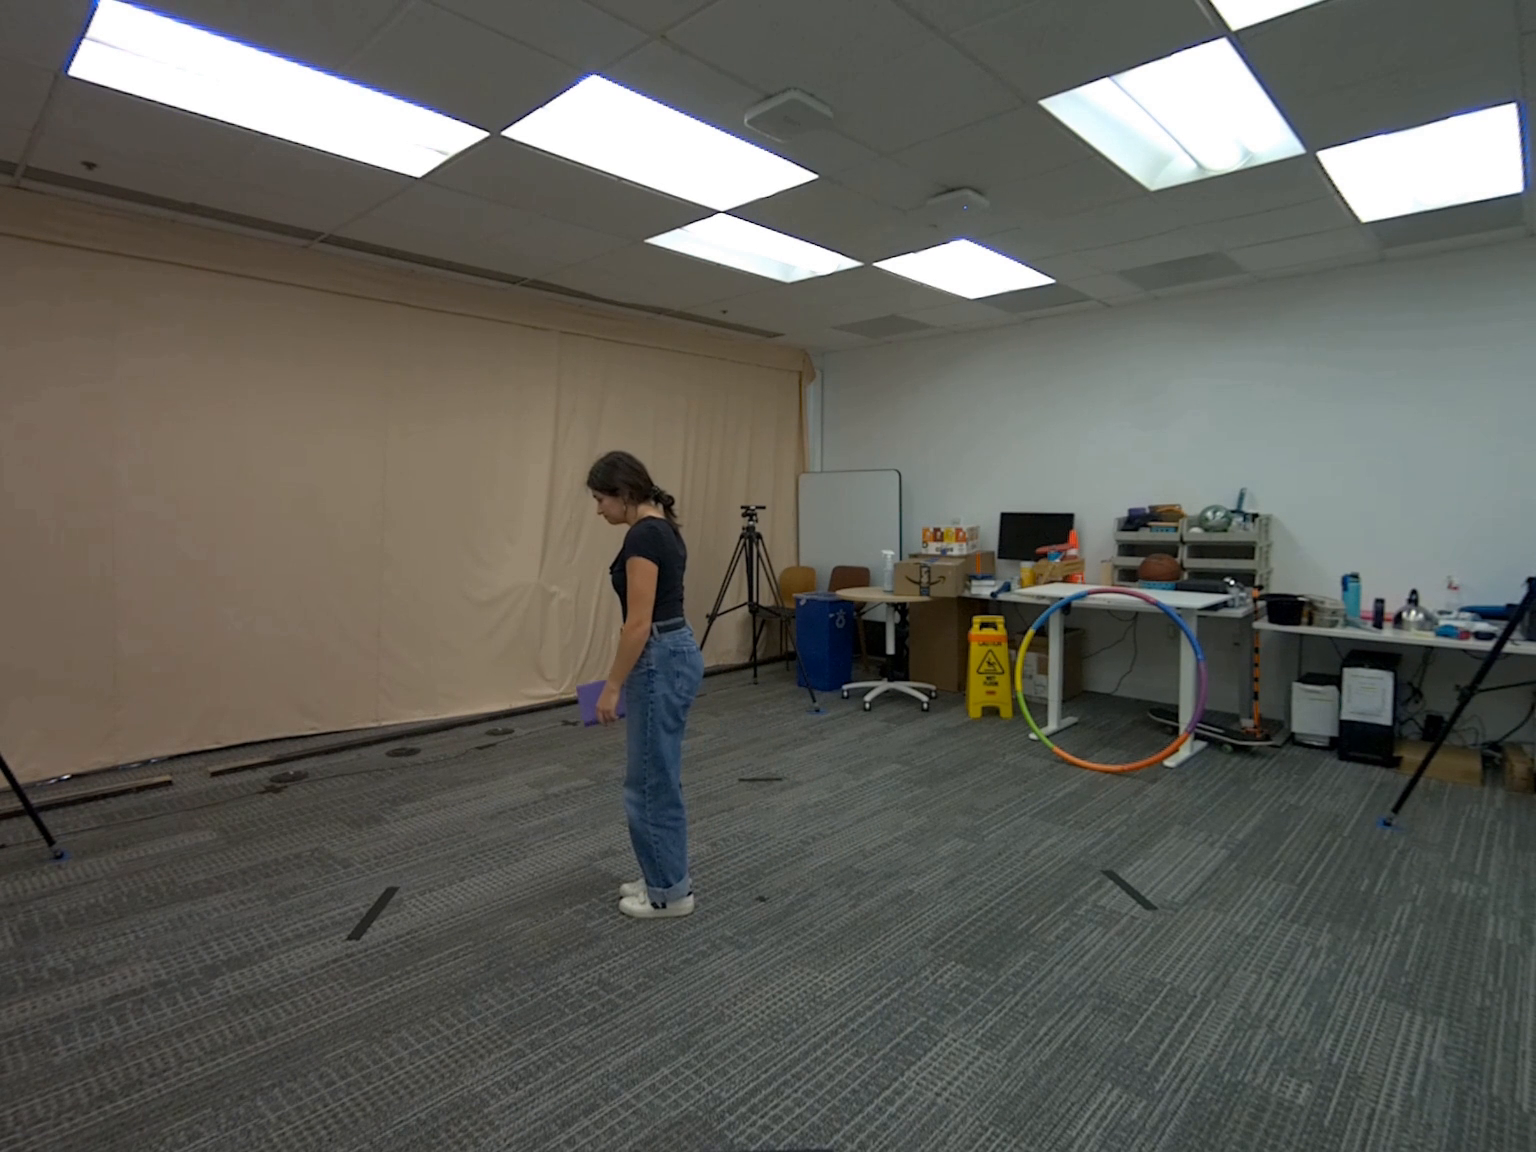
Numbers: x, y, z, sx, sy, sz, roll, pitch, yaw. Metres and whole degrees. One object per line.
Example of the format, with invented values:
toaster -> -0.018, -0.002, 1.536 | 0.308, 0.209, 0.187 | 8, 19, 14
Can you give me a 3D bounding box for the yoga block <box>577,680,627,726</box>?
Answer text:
yoga block -> -0.587, 0.455, 3.138 | 0.228, 0.150, 0.076 | -7, -13, -6
